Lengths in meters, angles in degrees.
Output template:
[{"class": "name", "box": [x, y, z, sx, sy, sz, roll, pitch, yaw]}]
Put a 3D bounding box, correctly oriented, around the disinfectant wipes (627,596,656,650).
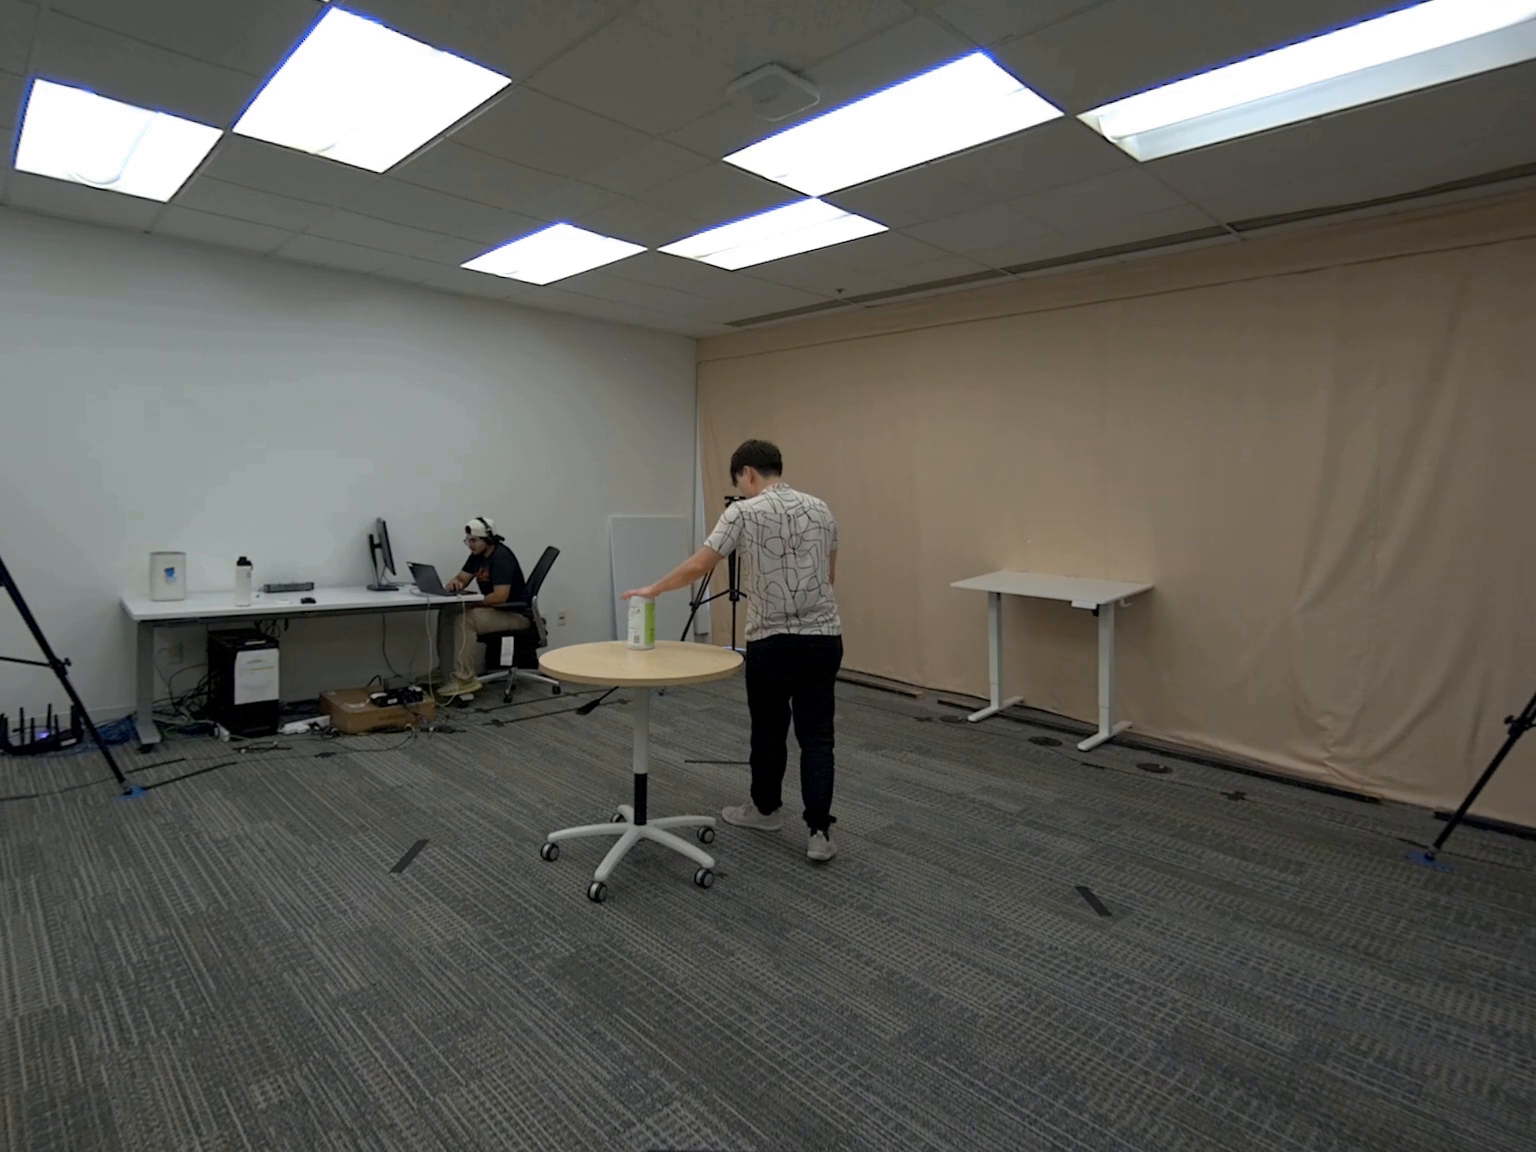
[{"class": "disinfectant wipes", "box": [-0.514, 0.185, 3.375, 0.118, 0.217, 0.118, 1, 3, -1]}]
